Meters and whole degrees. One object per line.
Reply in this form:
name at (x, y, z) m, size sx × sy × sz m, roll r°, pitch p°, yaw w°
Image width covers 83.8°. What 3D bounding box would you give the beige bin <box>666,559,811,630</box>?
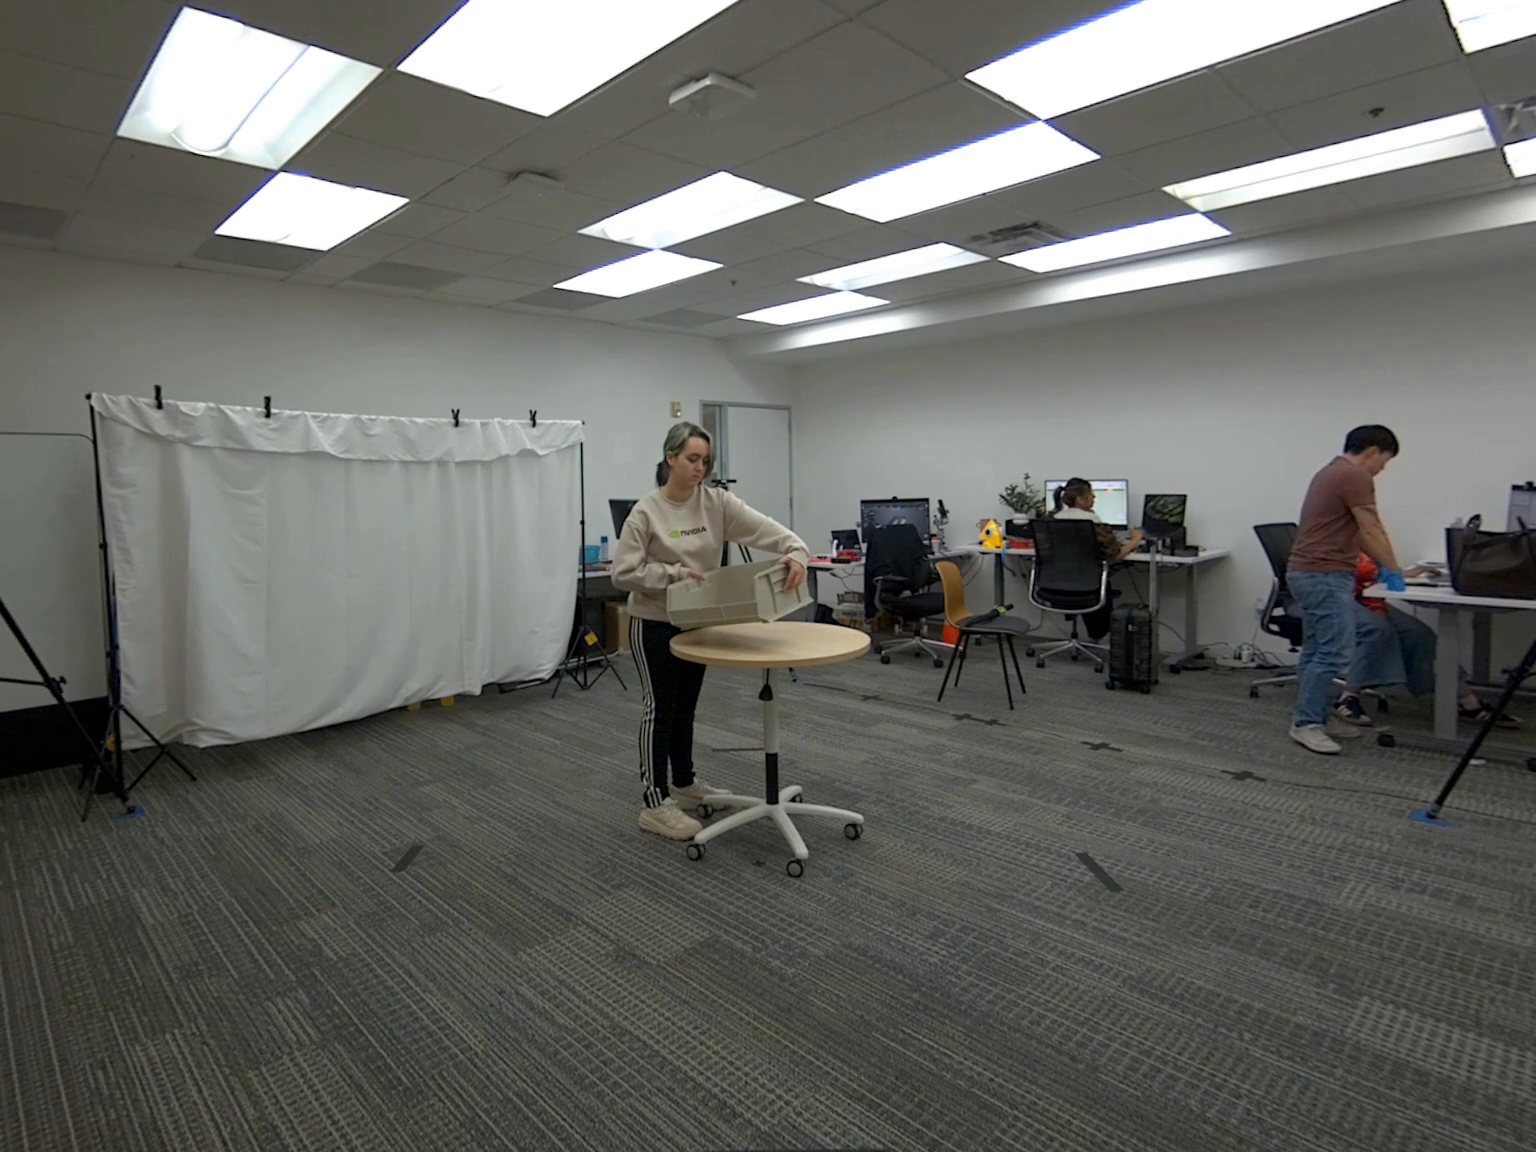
beige bin at (-0.112, 0.067, 3.210) m, size 0.432 × 0.188 × 0.370 m, roll -9°, pitch 6°, yaw 36°
